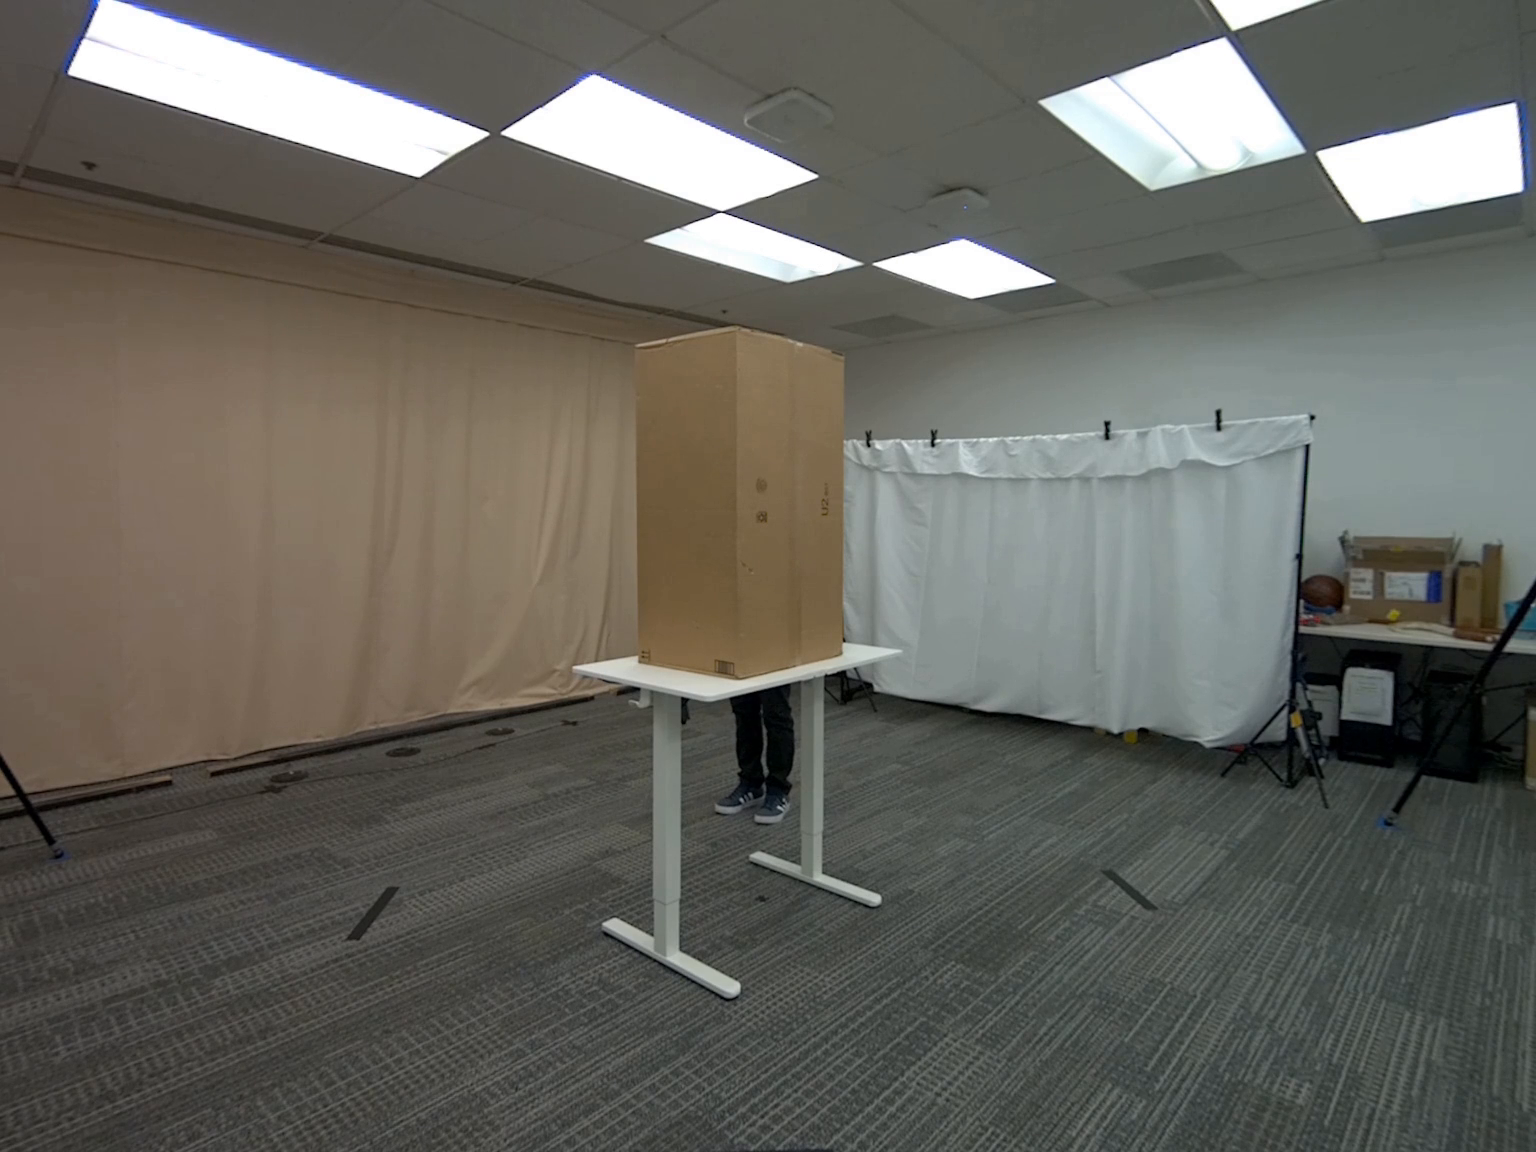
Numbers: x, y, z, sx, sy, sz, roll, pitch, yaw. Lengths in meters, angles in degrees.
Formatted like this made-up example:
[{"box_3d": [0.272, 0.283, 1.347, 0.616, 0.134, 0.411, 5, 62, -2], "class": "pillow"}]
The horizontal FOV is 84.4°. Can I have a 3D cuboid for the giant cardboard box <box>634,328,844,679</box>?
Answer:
[{"box_3d": [-0.083, -0.230, 2.774, 0.440, 1.024, 0.560, 3, 4, 40], "class": "giant cardboard box"}]
